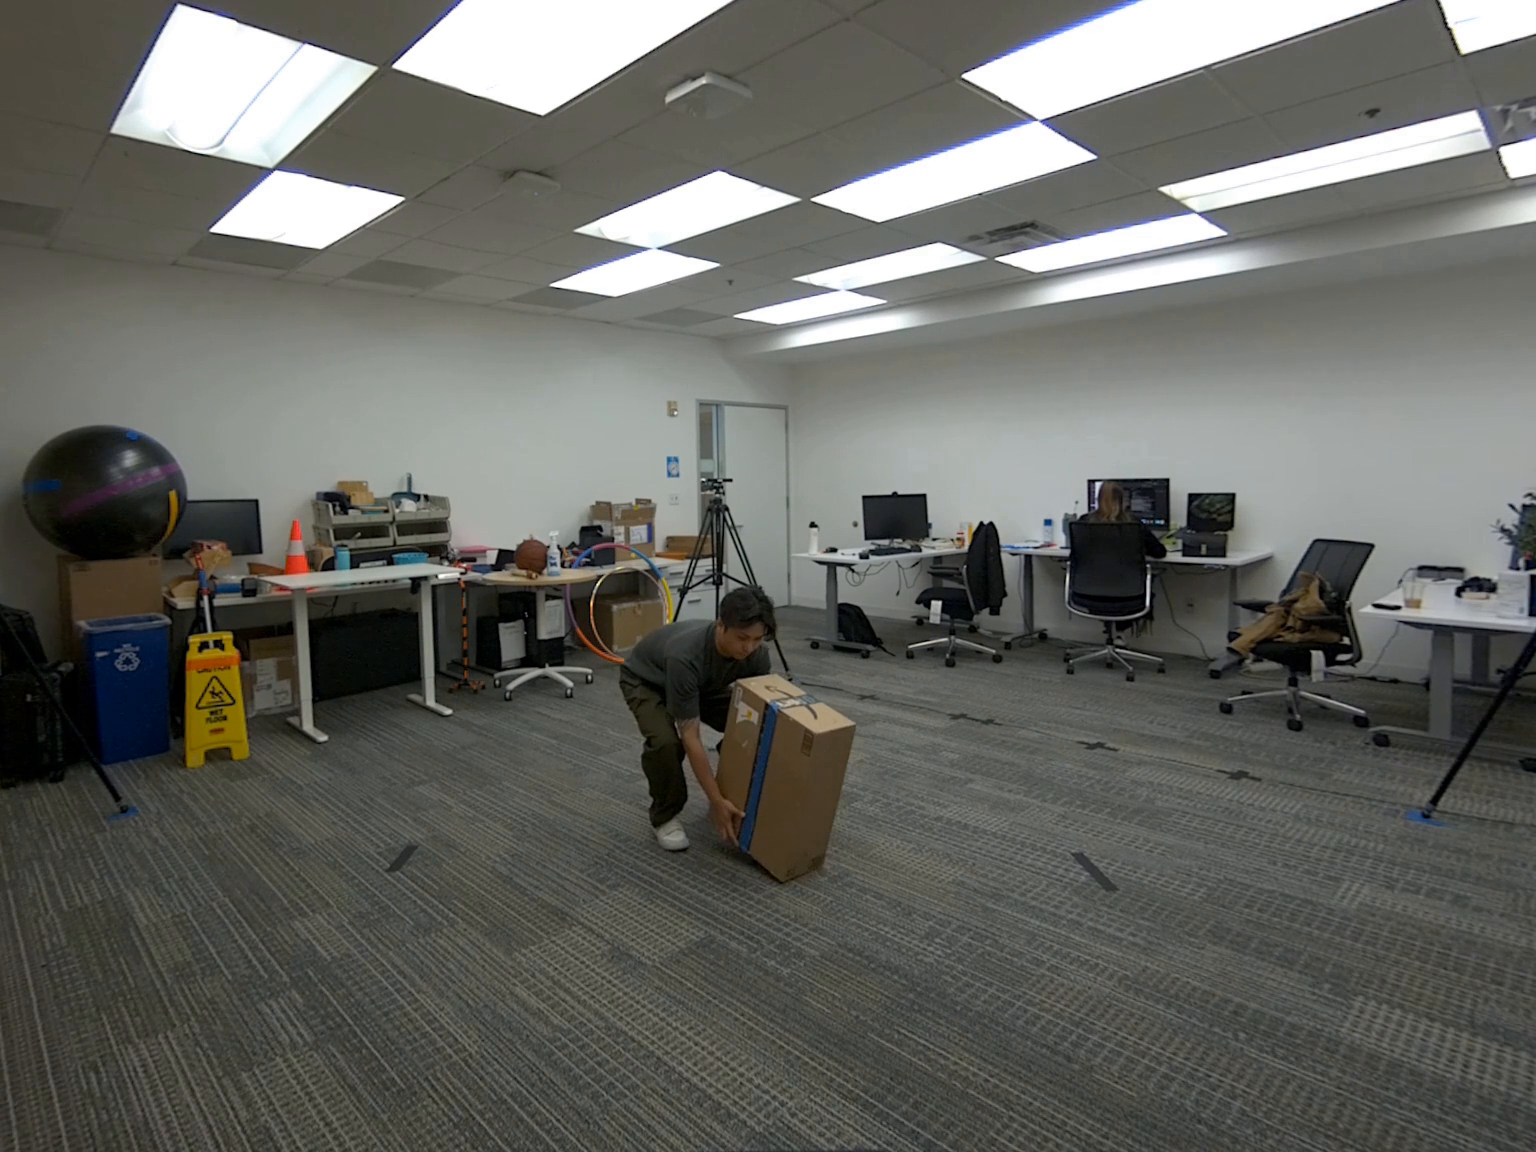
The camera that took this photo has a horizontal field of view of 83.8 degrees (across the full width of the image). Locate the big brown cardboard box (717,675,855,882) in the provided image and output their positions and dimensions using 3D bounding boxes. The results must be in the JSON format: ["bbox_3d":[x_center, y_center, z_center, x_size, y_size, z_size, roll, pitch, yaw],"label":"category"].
[{"bbox_3d":[0.043,0.707,3.080,0.227,0.583,0.433,-3,19,-43],"label":"big brown cardboard box"}]
